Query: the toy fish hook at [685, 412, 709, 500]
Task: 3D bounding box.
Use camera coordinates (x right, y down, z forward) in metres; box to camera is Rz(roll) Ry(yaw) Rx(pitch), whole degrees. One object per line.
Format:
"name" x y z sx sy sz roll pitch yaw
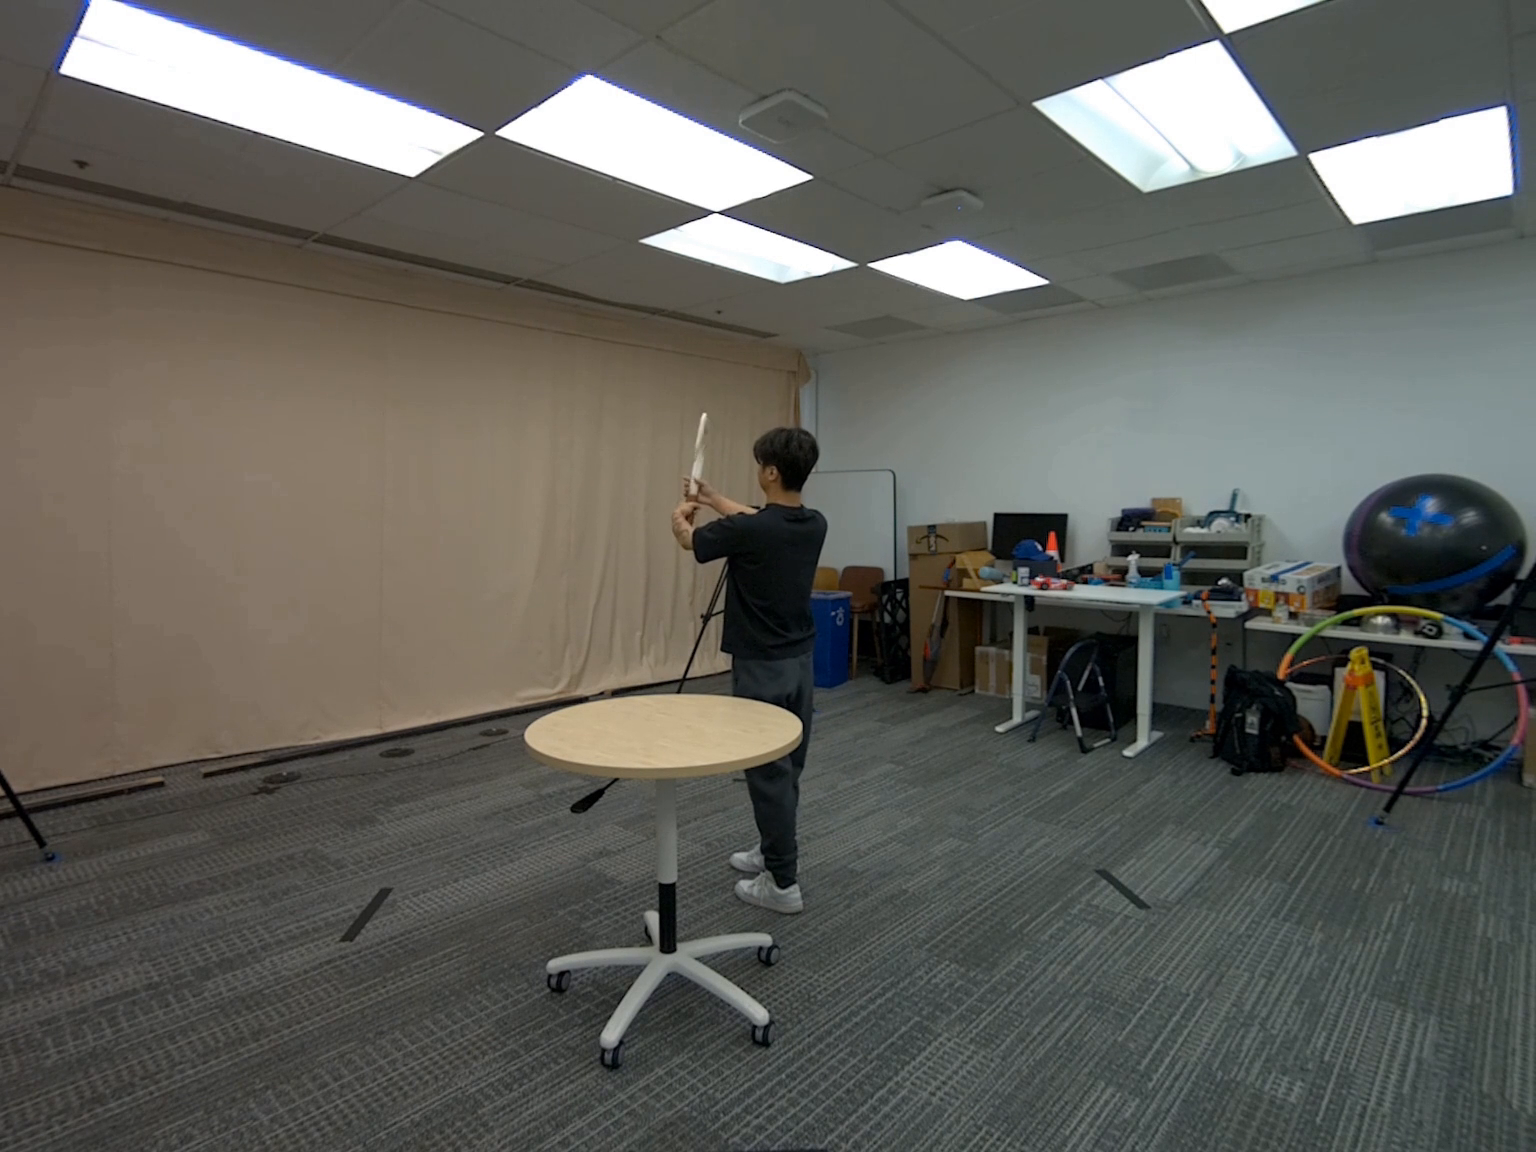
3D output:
"toy fish hook" -0.285 -0.374 3.254 0.048 0.507 0.223 7 -3 2
